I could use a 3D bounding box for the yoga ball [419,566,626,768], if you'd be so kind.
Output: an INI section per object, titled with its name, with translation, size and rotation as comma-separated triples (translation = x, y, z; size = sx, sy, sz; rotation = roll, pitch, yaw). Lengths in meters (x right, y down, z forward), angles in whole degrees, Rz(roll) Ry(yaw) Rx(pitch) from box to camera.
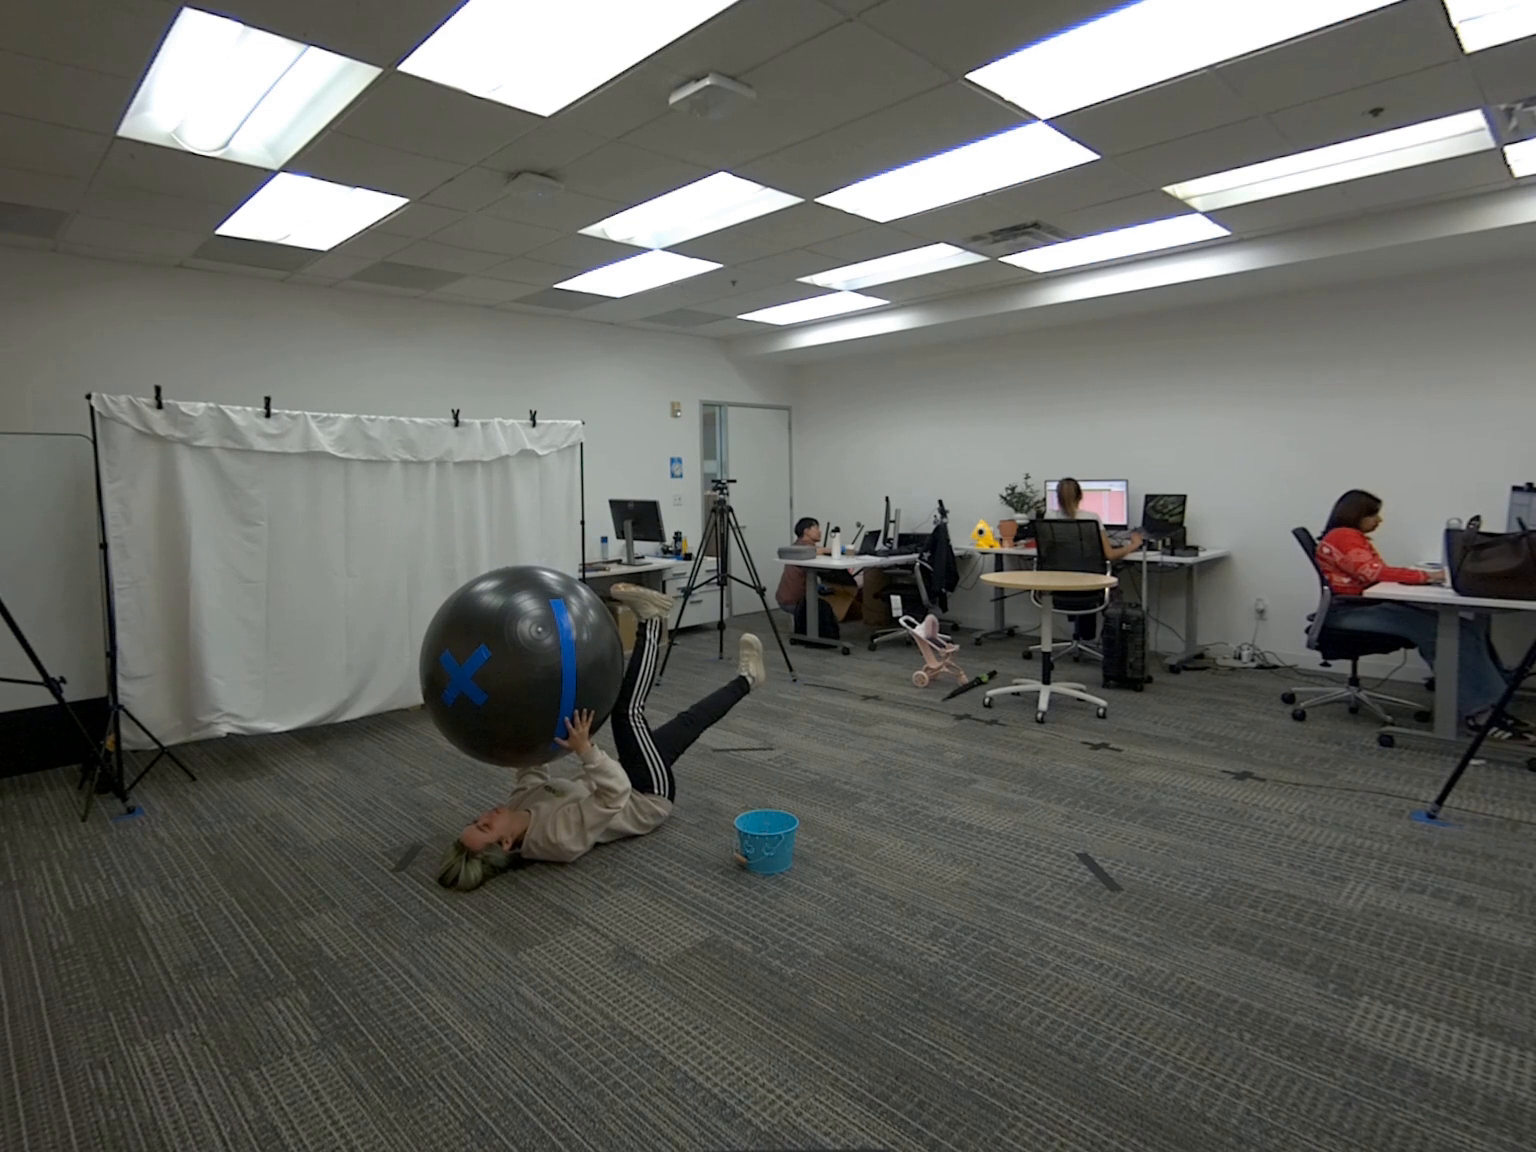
[yoga ball]
translation = -0.934, 0.342, 3.253
size = 0.757, 0.755, 0.762
rotation = -1, 5, -2
